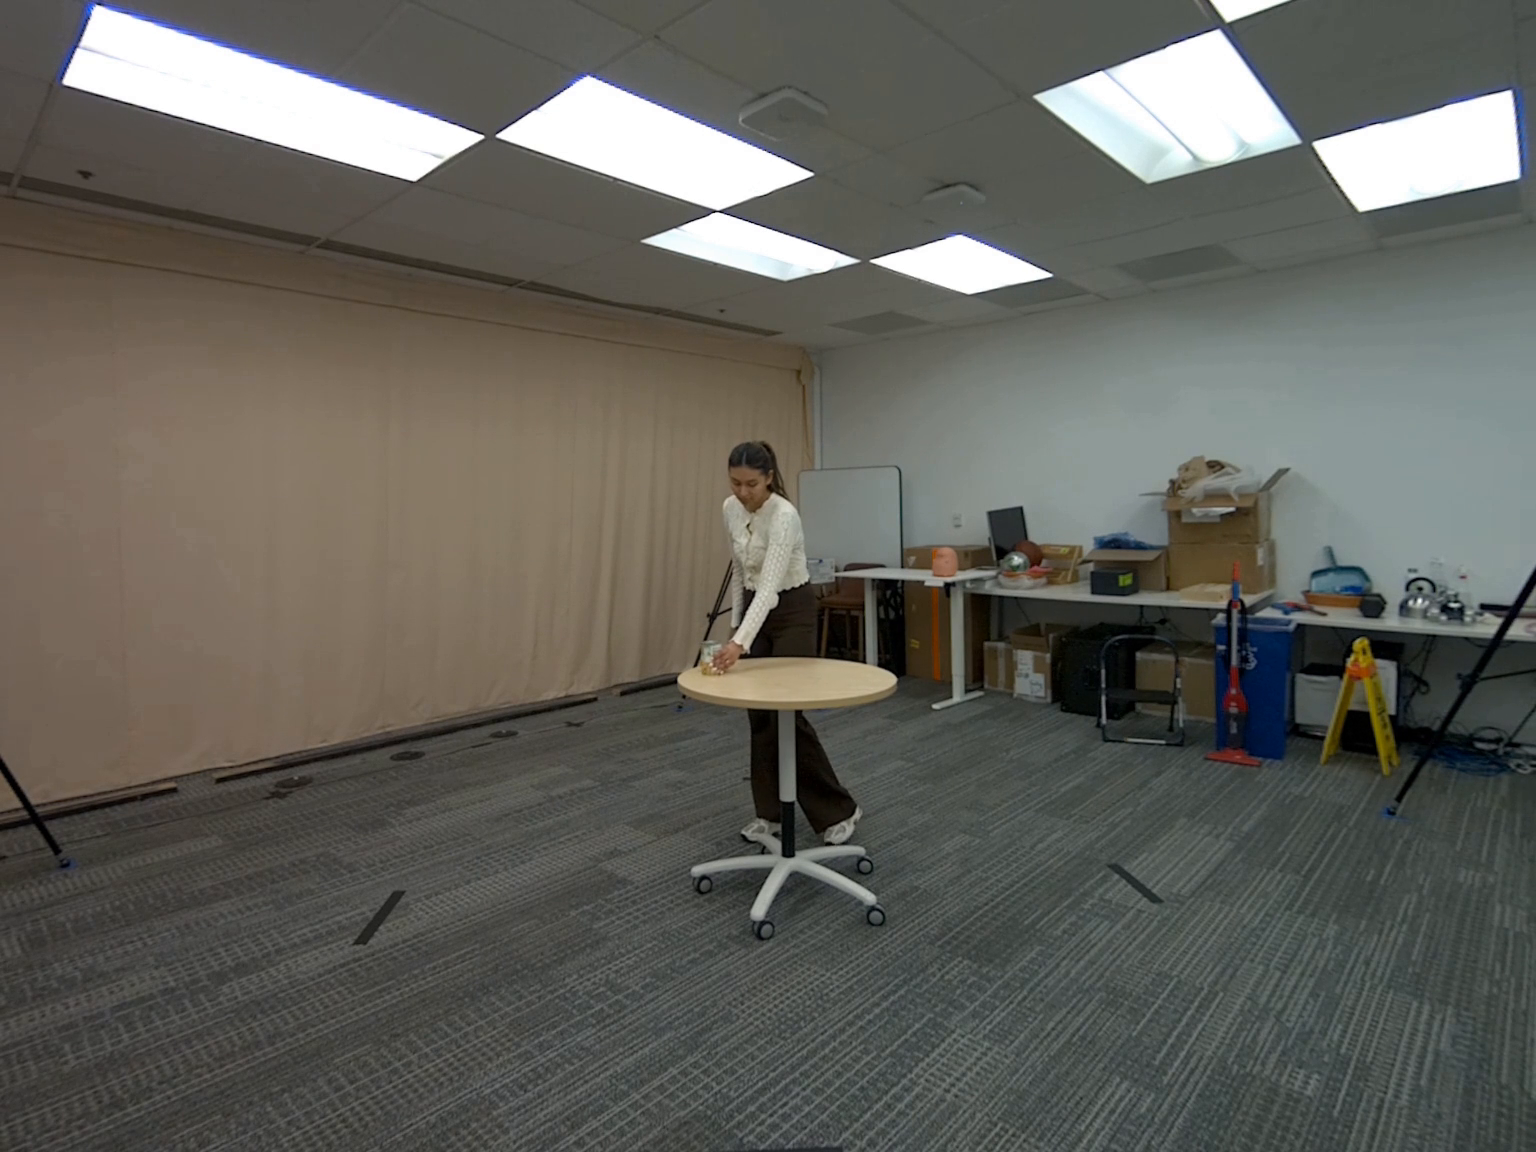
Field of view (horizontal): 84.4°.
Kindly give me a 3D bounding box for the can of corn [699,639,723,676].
[{"bbox_3d":[-0.190,0.290,3.050,0.074,0.111,0.074,1,3,-2],"label":"can of corn"}]
